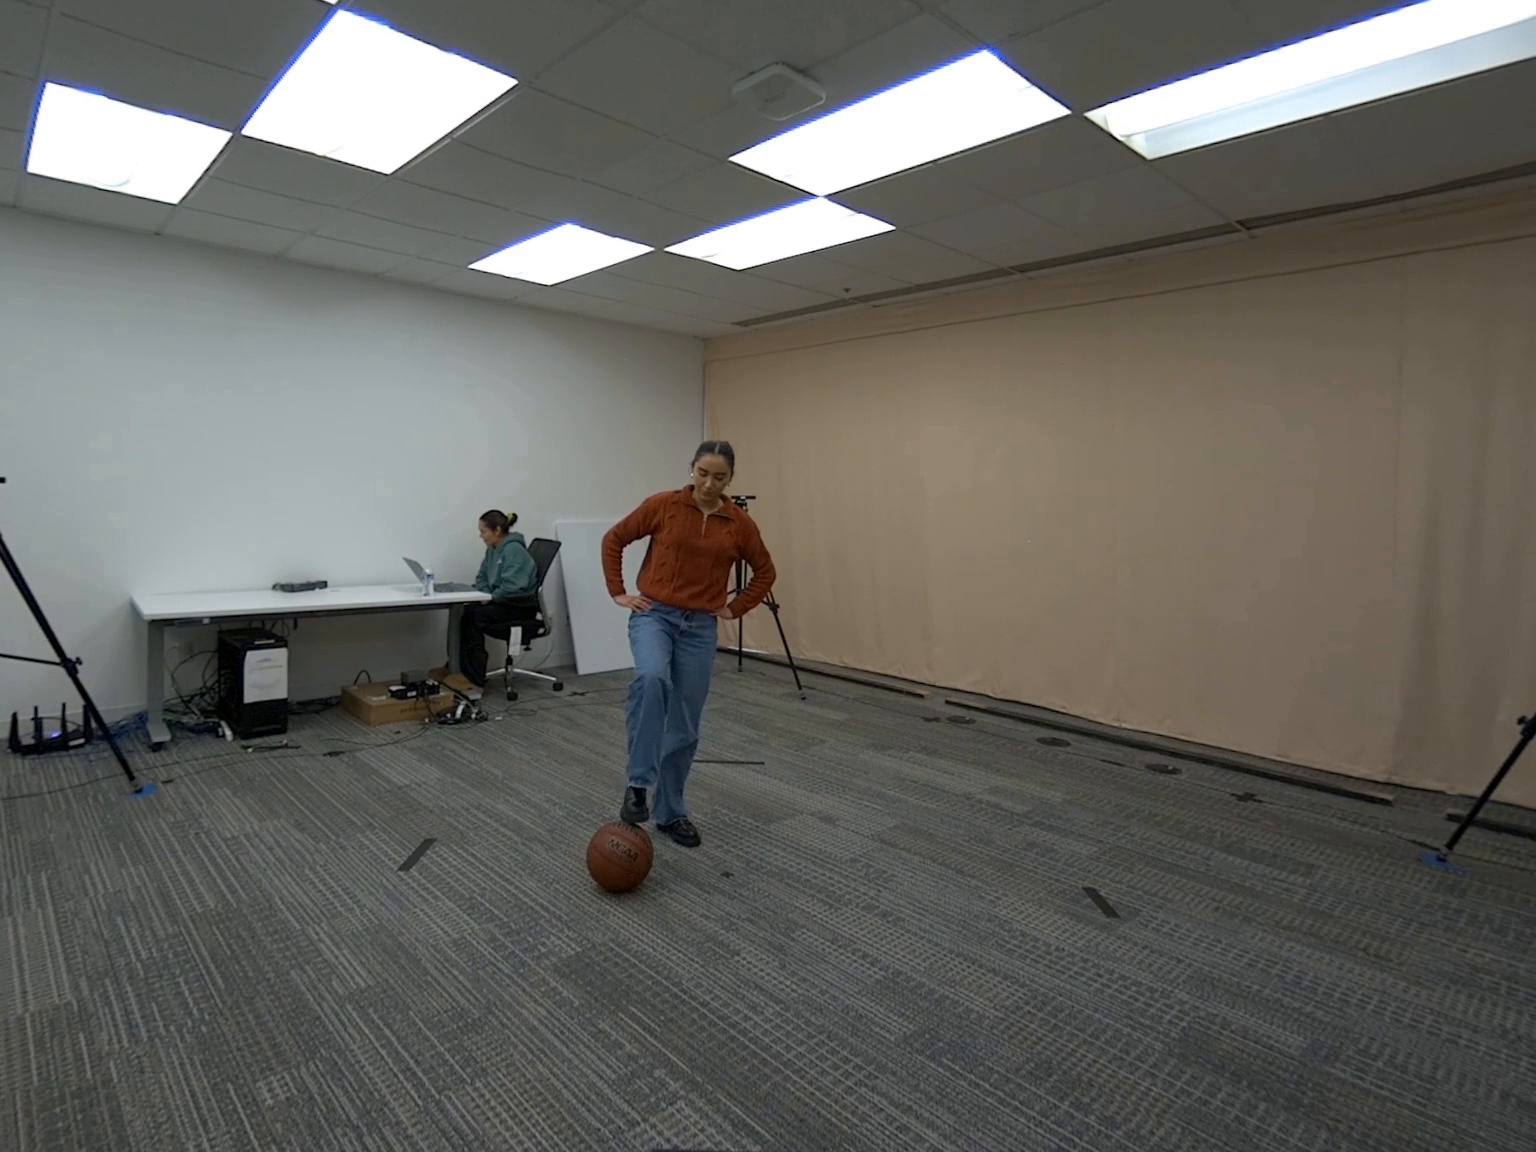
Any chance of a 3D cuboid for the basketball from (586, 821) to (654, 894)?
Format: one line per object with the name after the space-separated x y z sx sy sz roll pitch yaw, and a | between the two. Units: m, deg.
-0.539 0.991 2.972 0.236 0.235 0.237 1 4 -1 | basketball
